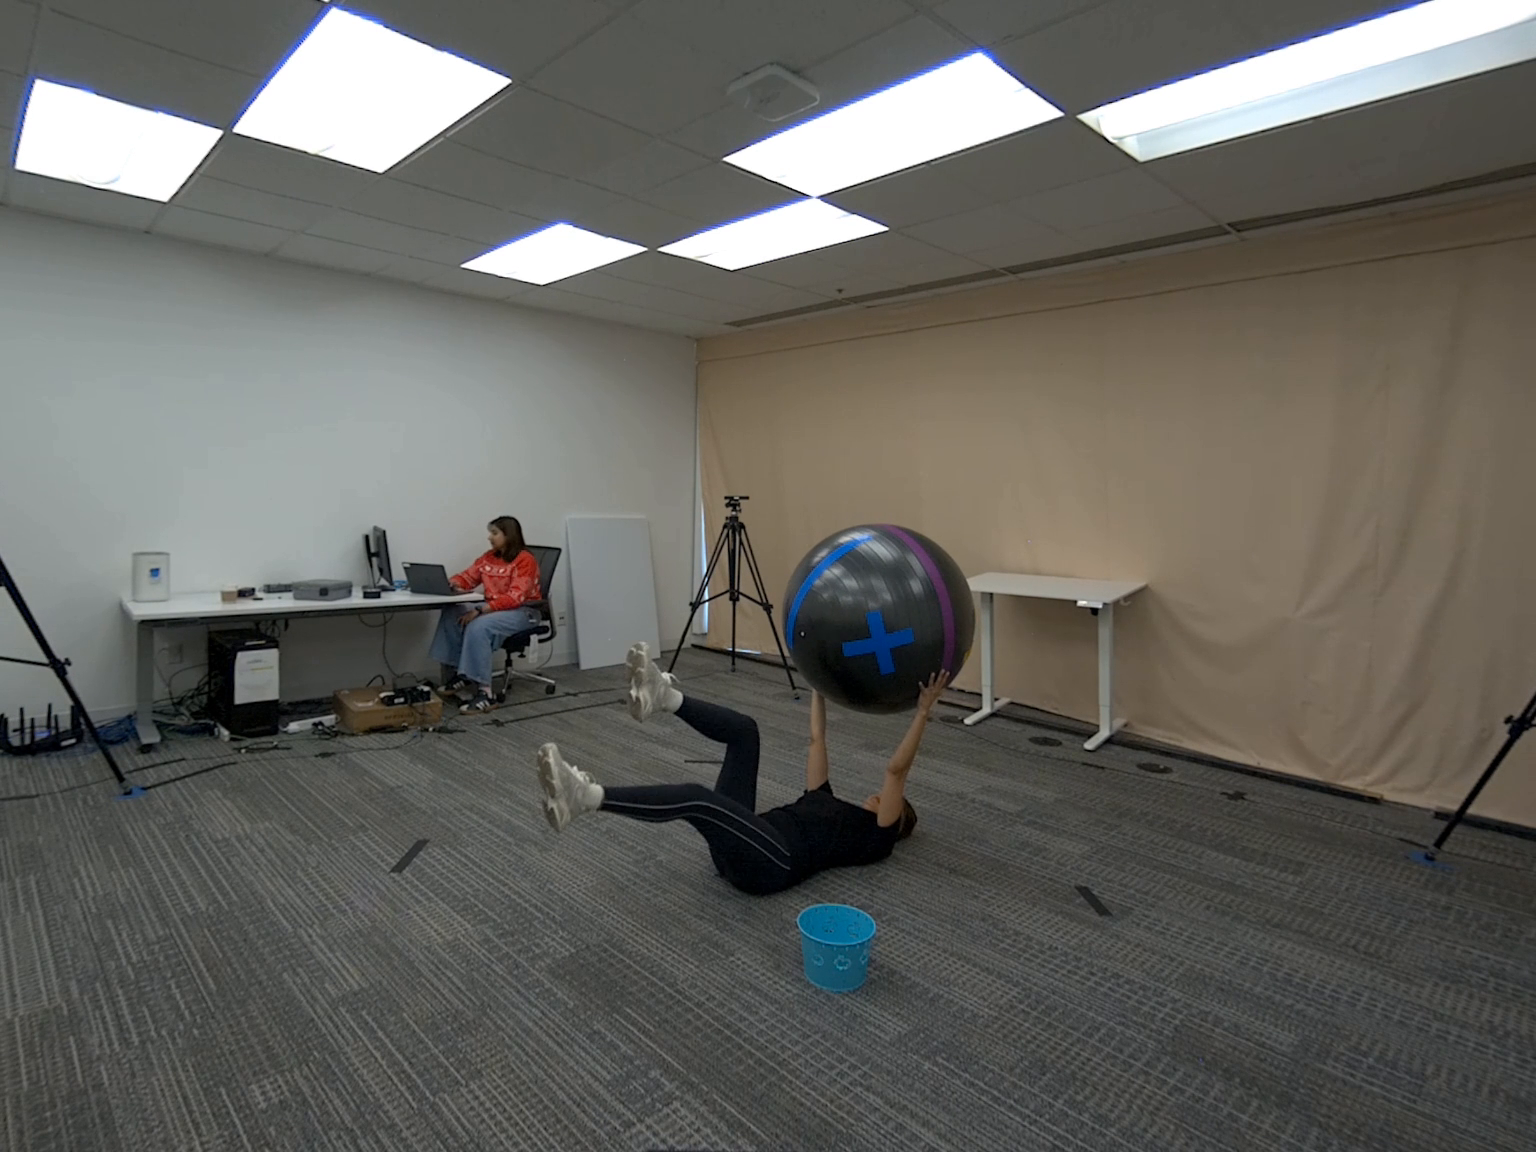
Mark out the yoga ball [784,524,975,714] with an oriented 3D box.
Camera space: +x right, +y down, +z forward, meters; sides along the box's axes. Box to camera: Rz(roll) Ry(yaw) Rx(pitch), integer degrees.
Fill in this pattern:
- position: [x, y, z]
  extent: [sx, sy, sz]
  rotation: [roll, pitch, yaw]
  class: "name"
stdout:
- position: [0.432, 0.171, 3.361]
  extent: [0.757, 0.754, 0.762]
  rotation: [0, 7, -1]
  class: "yoga ball"
